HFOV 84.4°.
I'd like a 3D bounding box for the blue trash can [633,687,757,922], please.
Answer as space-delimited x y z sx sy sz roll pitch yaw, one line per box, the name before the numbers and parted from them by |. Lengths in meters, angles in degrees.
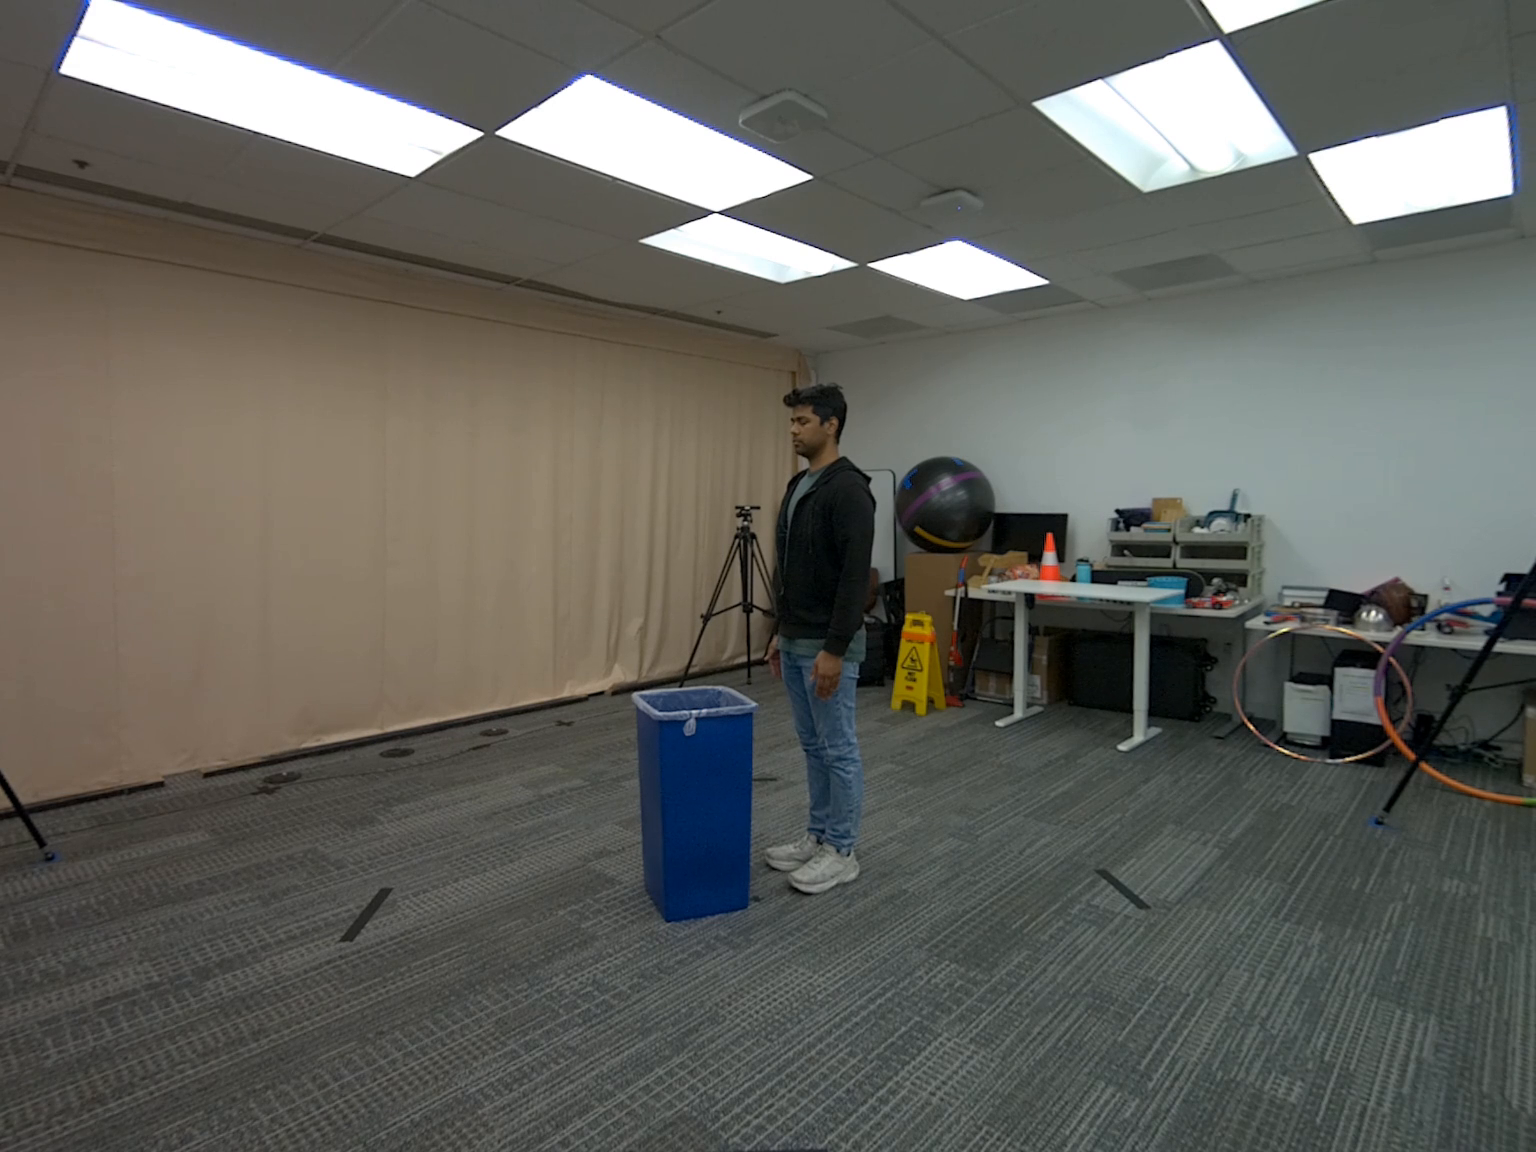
blue trash can | -0.264 0.786 2.988 0.370 0.712 0.383 -1 3 -22
